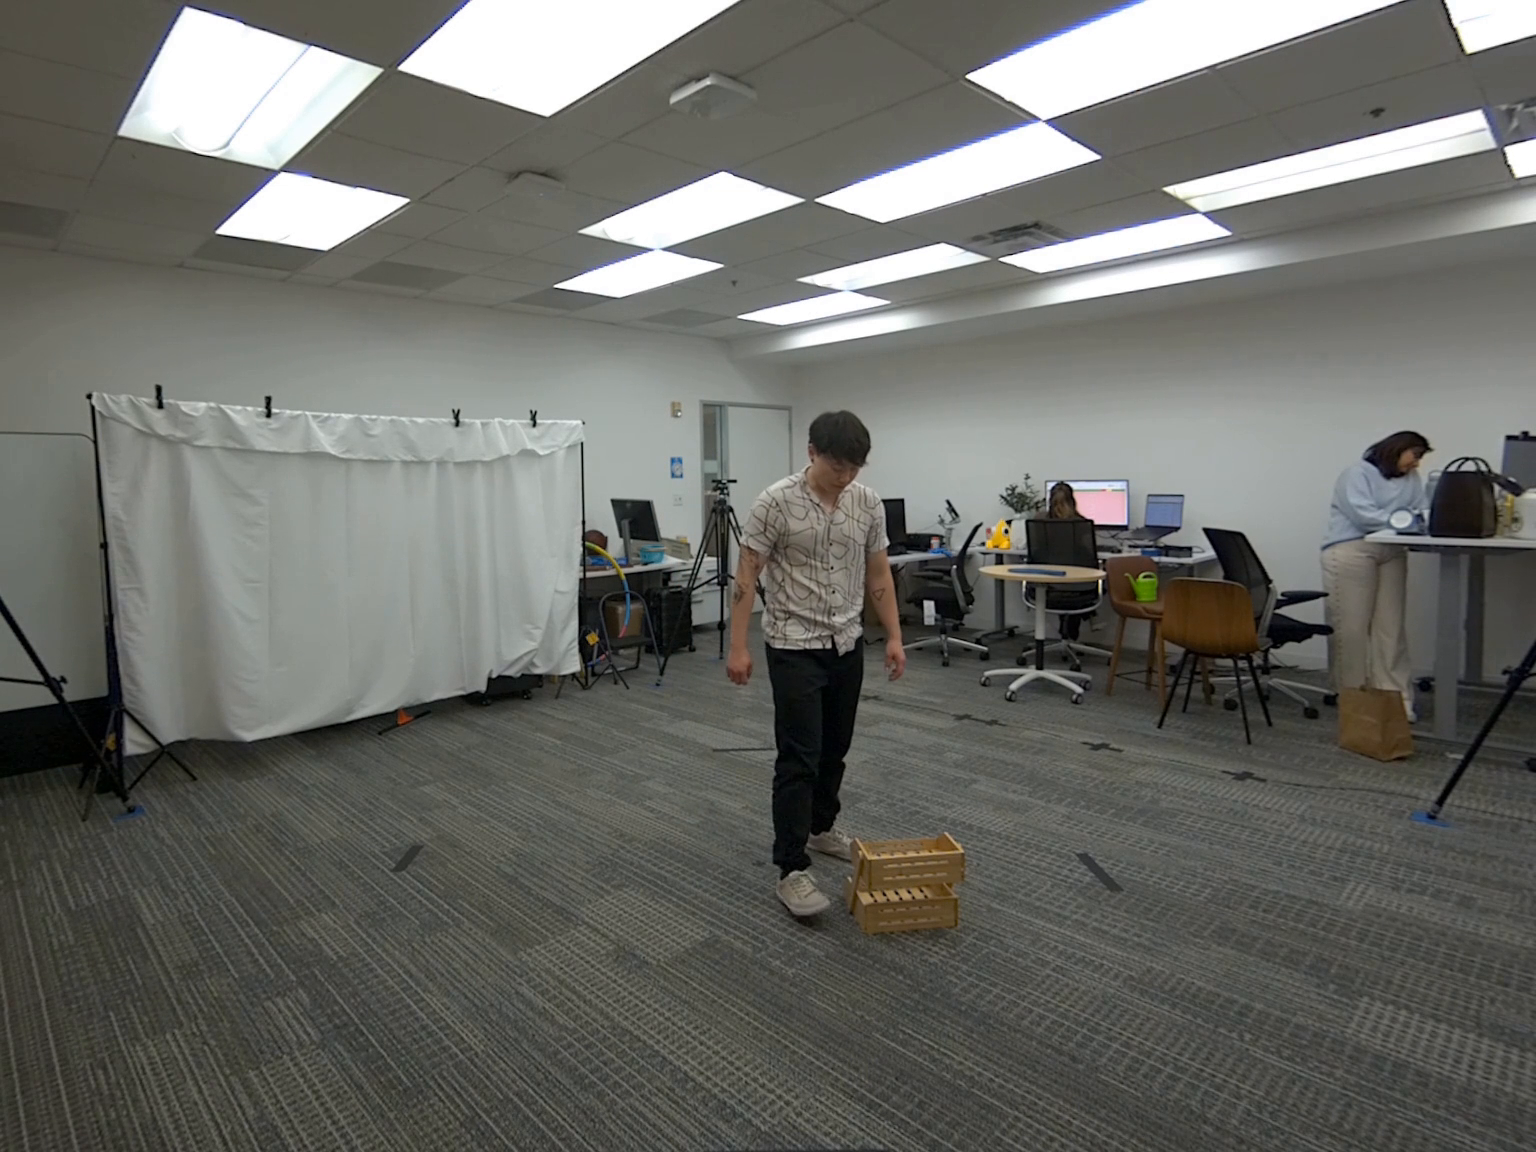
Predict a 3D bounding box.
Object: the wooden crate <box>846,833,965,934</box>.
[{"bbox_3d":[0.427,0.946,2.725,0.322,0.272,0.305,-2,5,-8],"label":"wooden crate"}]
